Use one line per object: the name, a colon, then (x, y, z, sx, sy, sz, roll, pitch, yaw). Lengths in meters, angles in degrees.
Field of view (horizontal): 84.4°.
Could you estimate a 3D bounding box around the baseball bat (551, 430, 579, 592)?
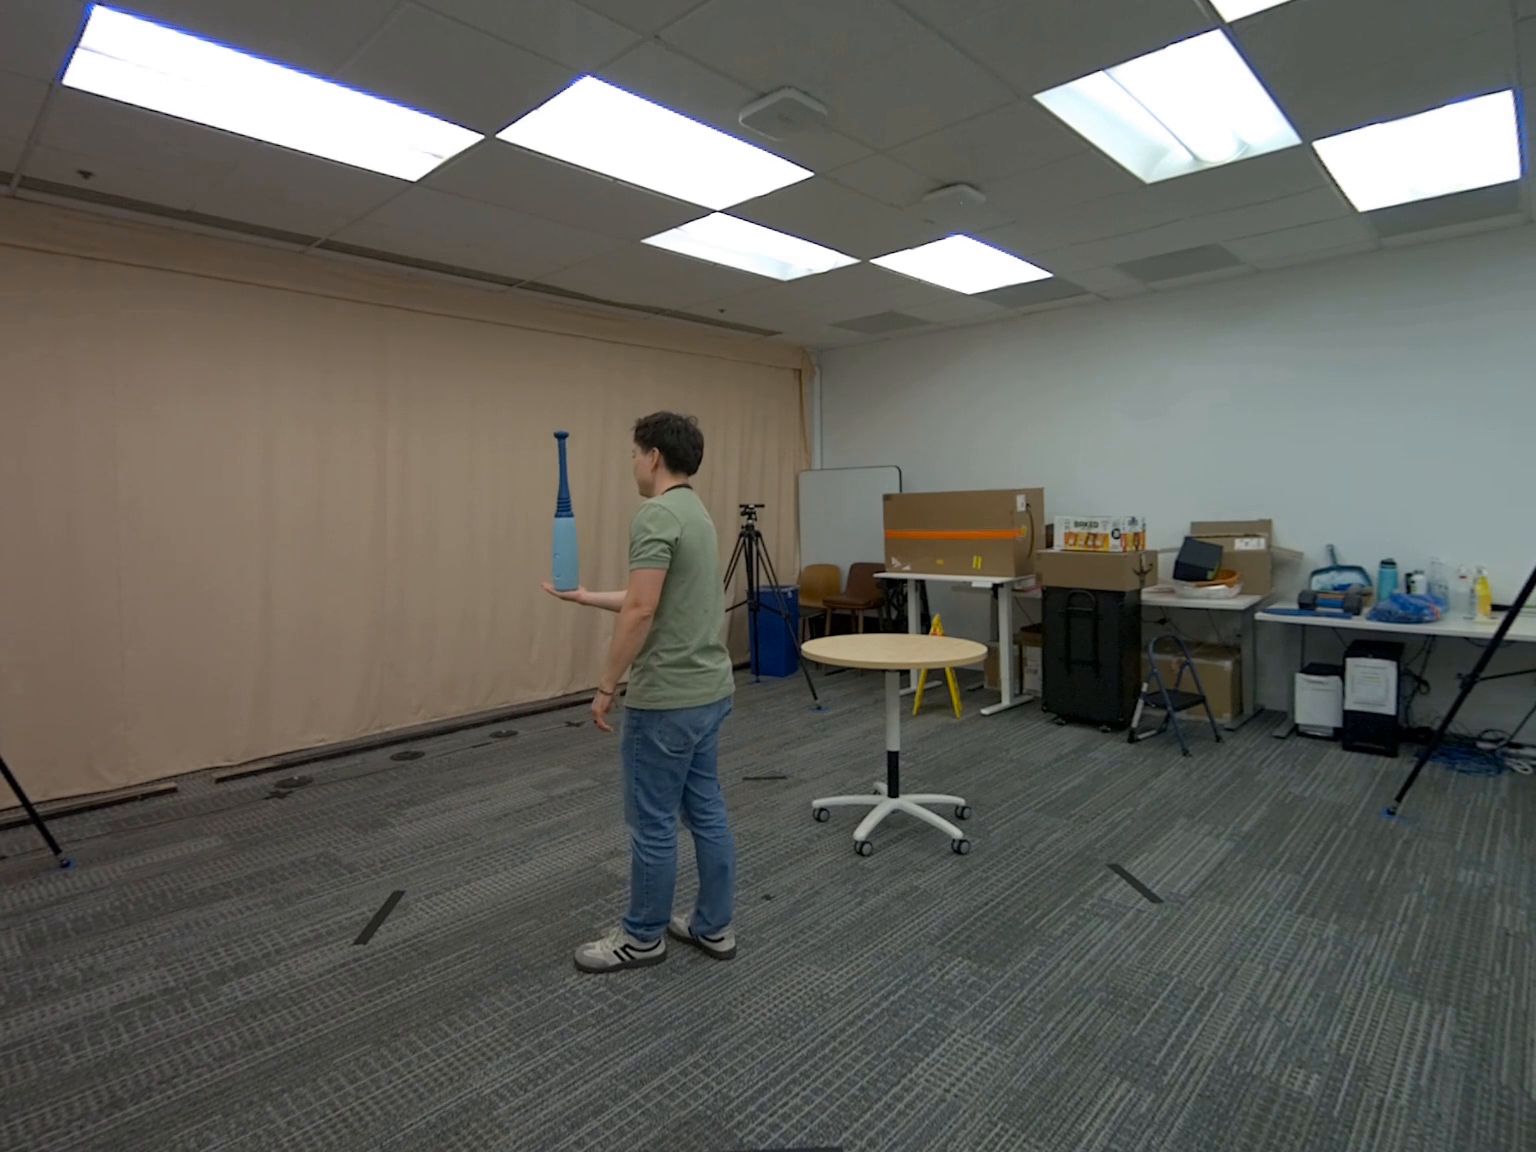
baseball bat: (-0.679, -0.218, 2.859, 0.089, 0.542, 0.089, -3, 3, -2)
